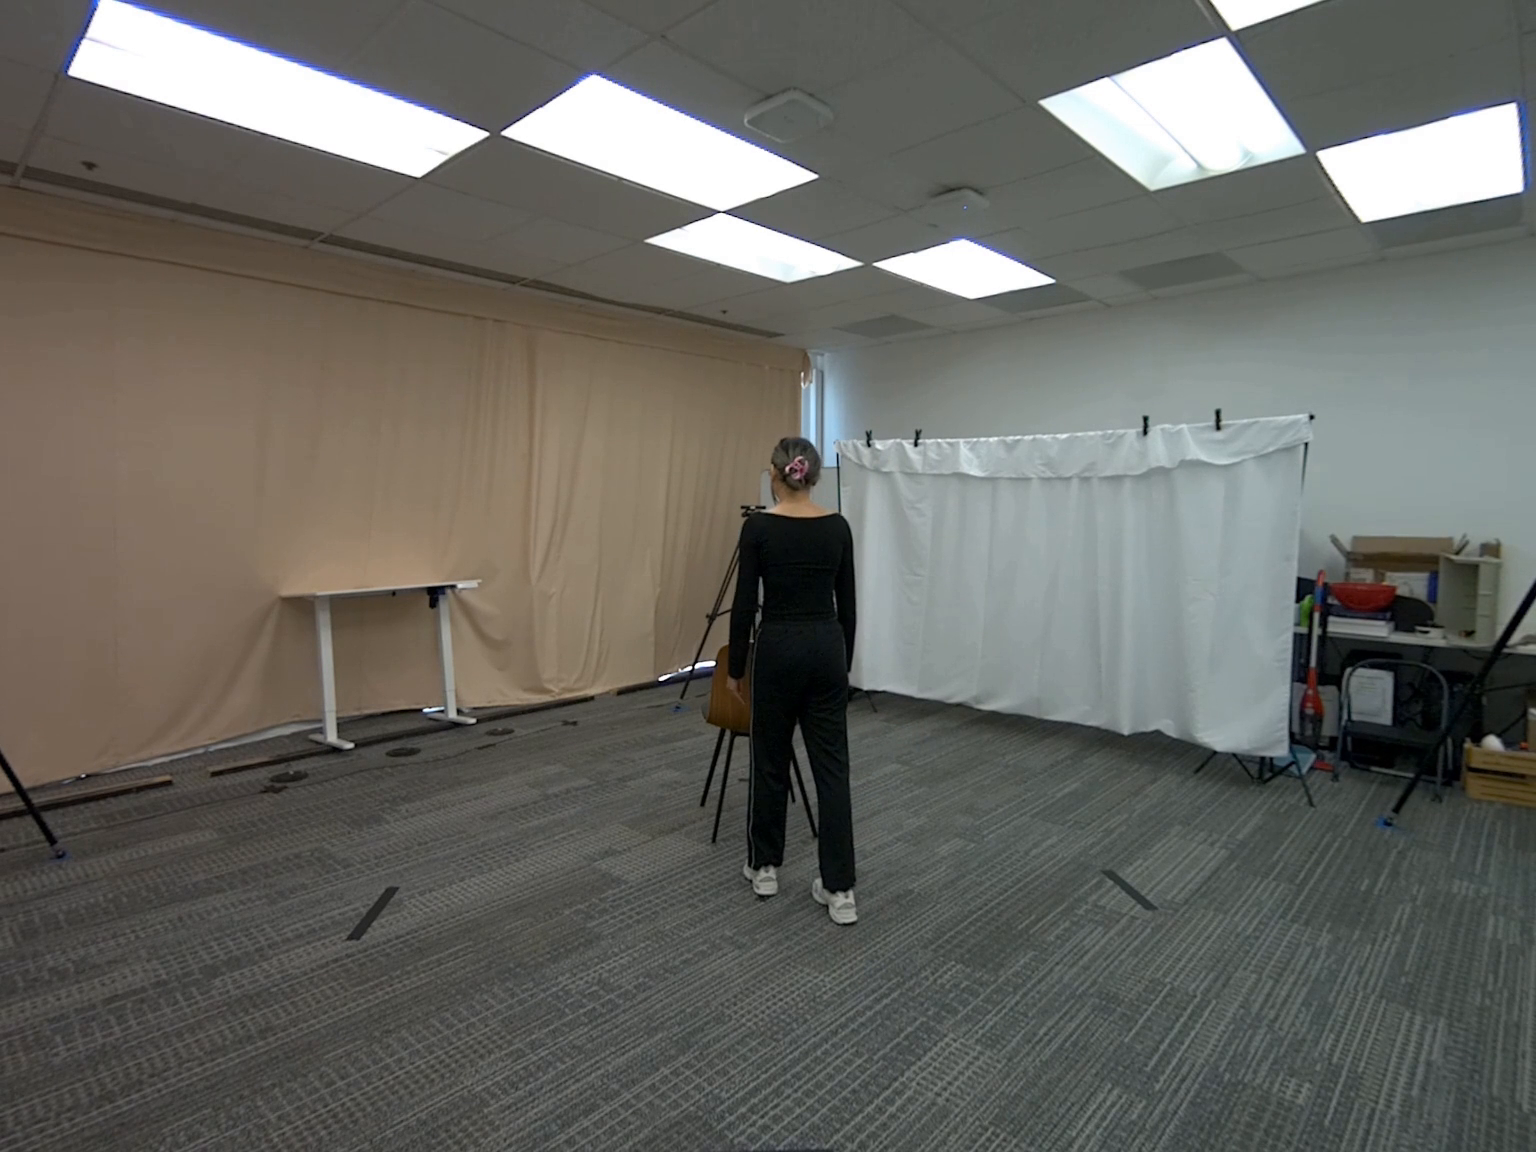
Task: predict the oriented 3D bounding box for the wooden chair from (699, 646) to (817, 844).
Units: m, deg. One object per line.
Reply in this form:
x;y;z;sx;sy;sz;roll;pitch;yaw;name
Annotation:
-0.060;0.653;3.703;0.474;0.873;0.530;-1;7;-9;wooden chair
